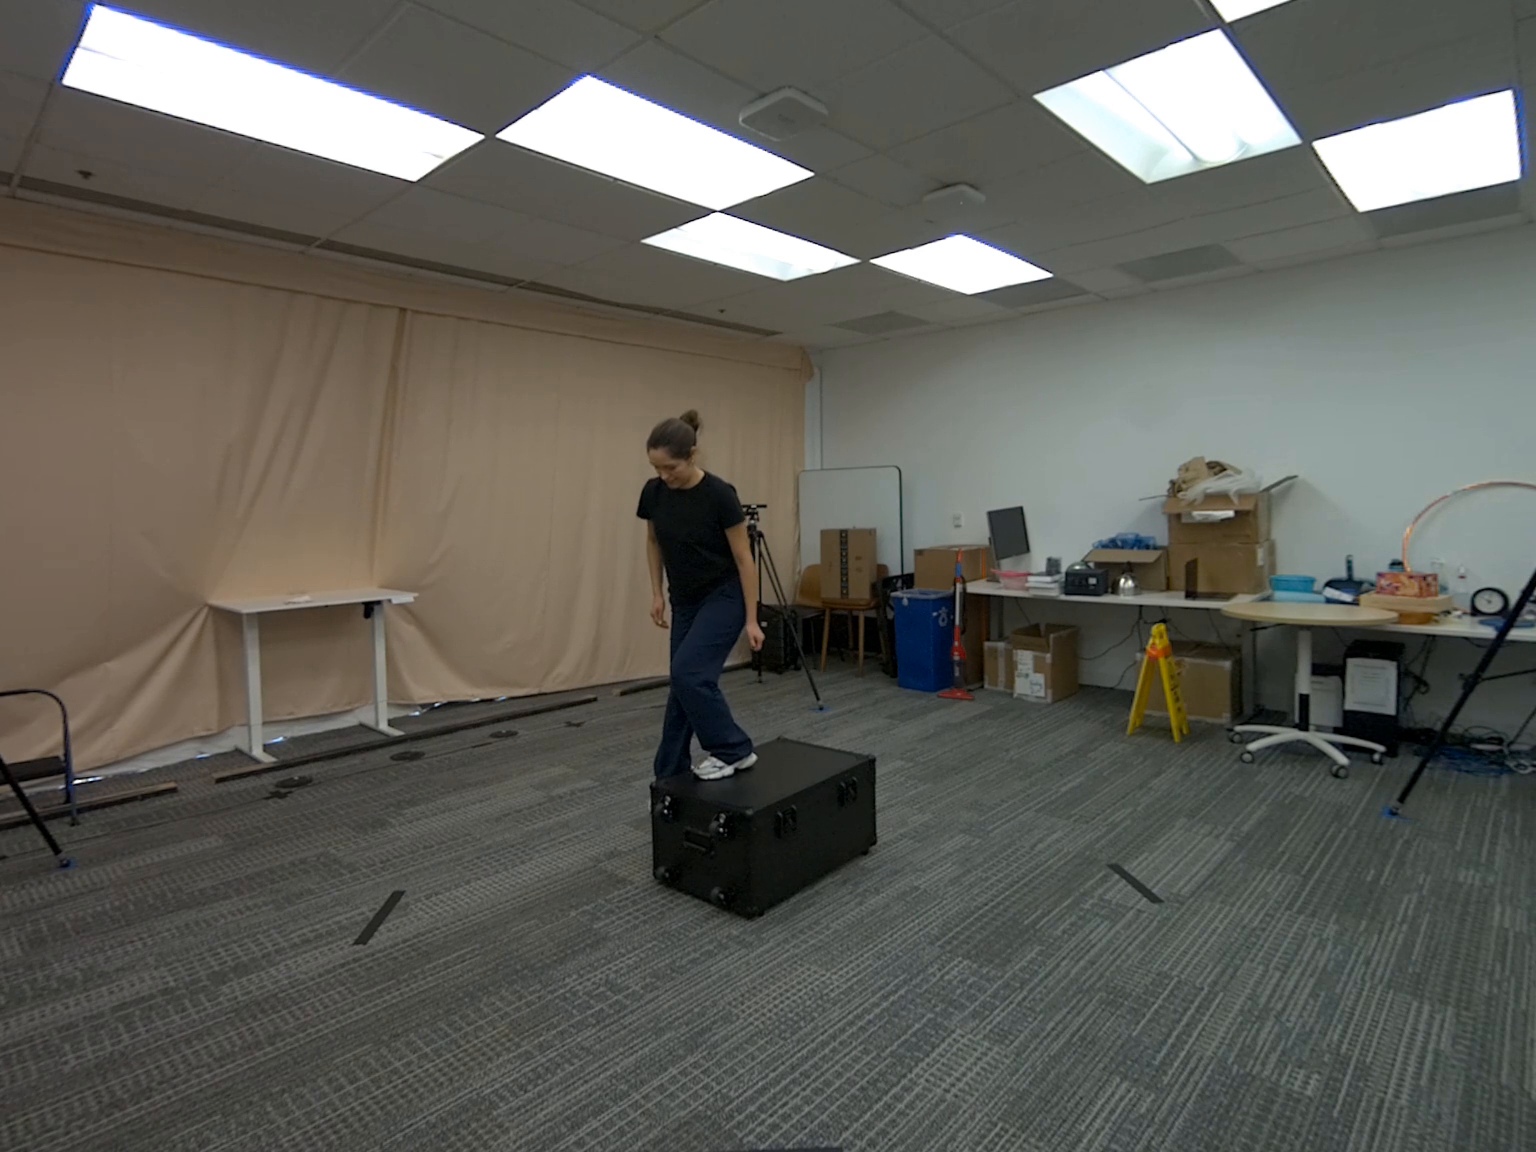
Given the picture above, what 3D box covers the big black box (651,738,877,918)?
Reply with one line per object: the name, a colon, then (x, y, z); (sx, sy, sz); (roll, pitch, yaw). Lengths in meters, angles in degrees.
big black box: (-0.004, 0.933, 3.211); (0.538, 0.395, 0.836); (2, 5, 40)
